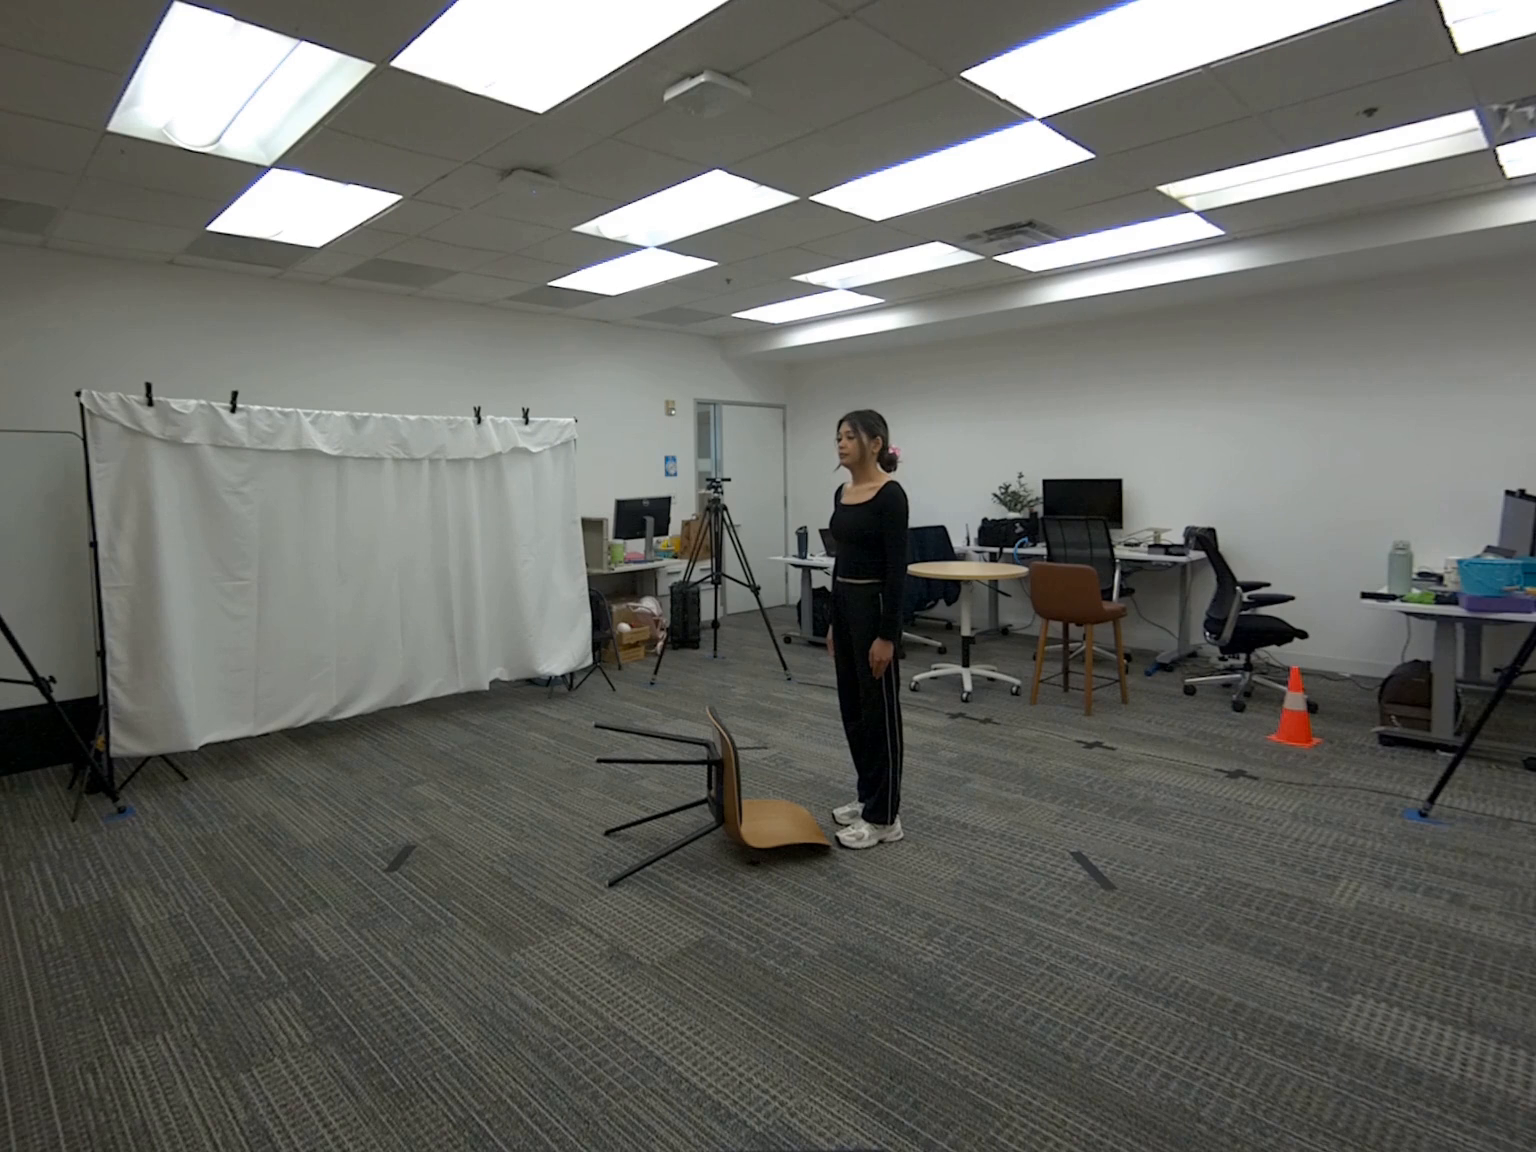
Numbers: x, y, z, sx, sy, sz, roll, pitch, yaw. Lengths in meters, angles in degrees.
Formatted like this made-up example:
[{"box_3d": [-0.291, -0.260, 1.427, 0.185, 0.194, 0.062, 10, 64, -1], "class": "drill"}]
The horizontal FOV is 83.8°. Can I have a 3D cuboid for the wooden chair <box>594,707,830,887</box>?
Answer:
[{"box_3d": [-0.198, 0.769, 3.209, 0.869, 0.521, 0.485, -1, 5, -10], "class": "wooden chair"}]
